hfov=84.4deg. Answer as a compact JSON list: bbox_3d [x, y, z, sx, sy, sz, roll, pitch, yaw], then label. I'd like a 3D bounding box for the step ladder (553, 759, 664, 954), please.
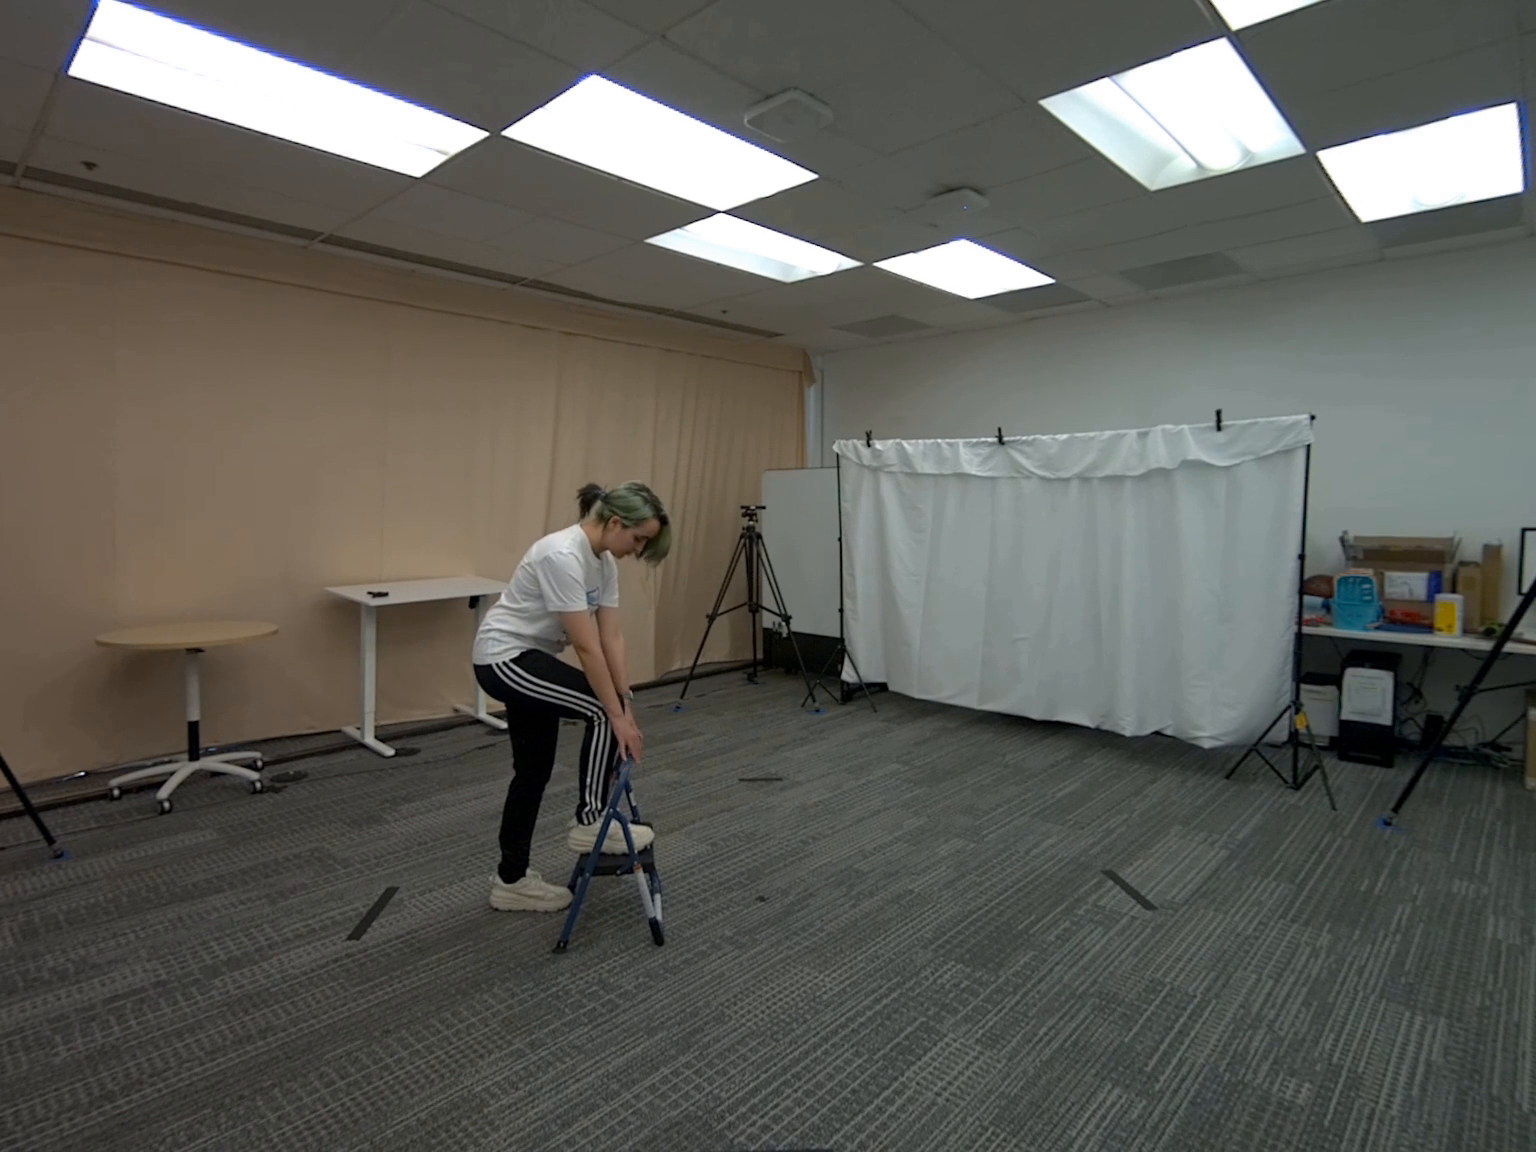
[{"bbox_3d":[-0.530,0.864,2.833,0.347,0.605,0.434,-1,2,-7],"label":"step ladder"}]
